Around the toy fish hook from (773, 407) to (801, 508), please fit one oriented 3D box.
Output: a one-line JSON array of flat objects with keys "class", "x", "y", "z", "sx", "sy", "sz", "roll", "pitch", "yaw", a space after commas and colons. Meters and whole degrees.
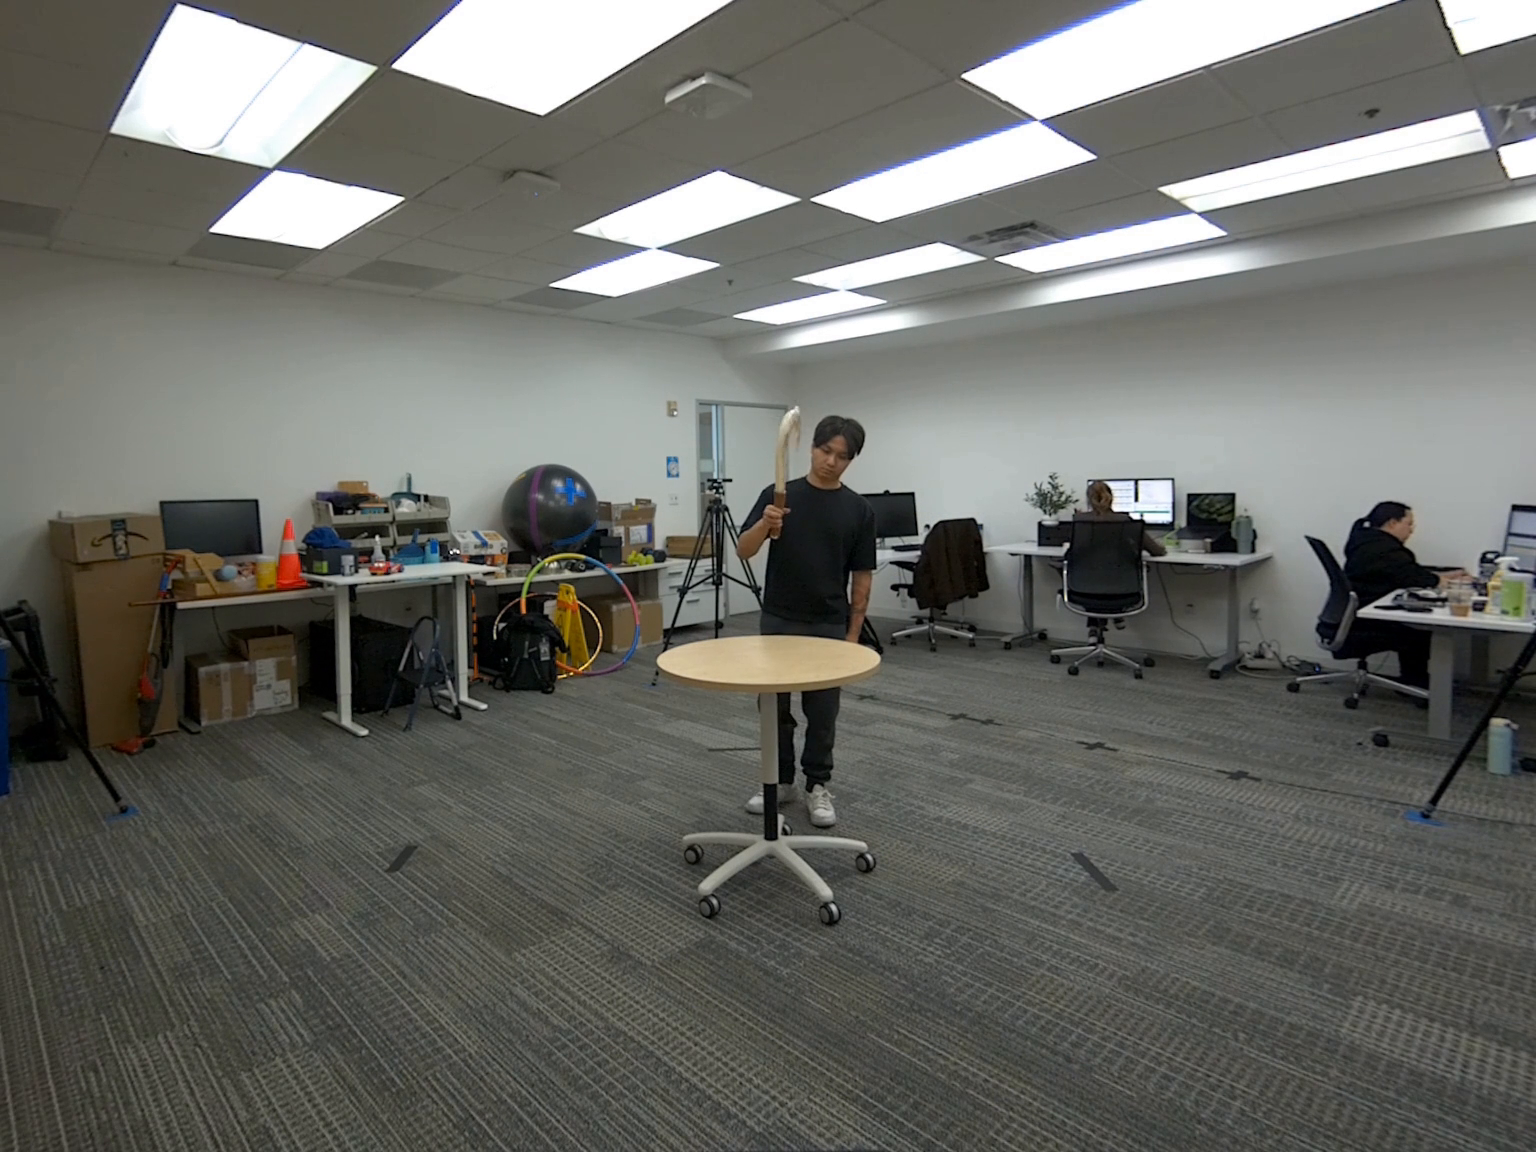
[{"class": "toy fish hook", "x": 0.071, "y": -0.374, "z": 3.228, "sx": 0.049, "sy": 0.496, "sz": 0.224, "roll": 17, "pitch": 31, "yaw": 18}]
